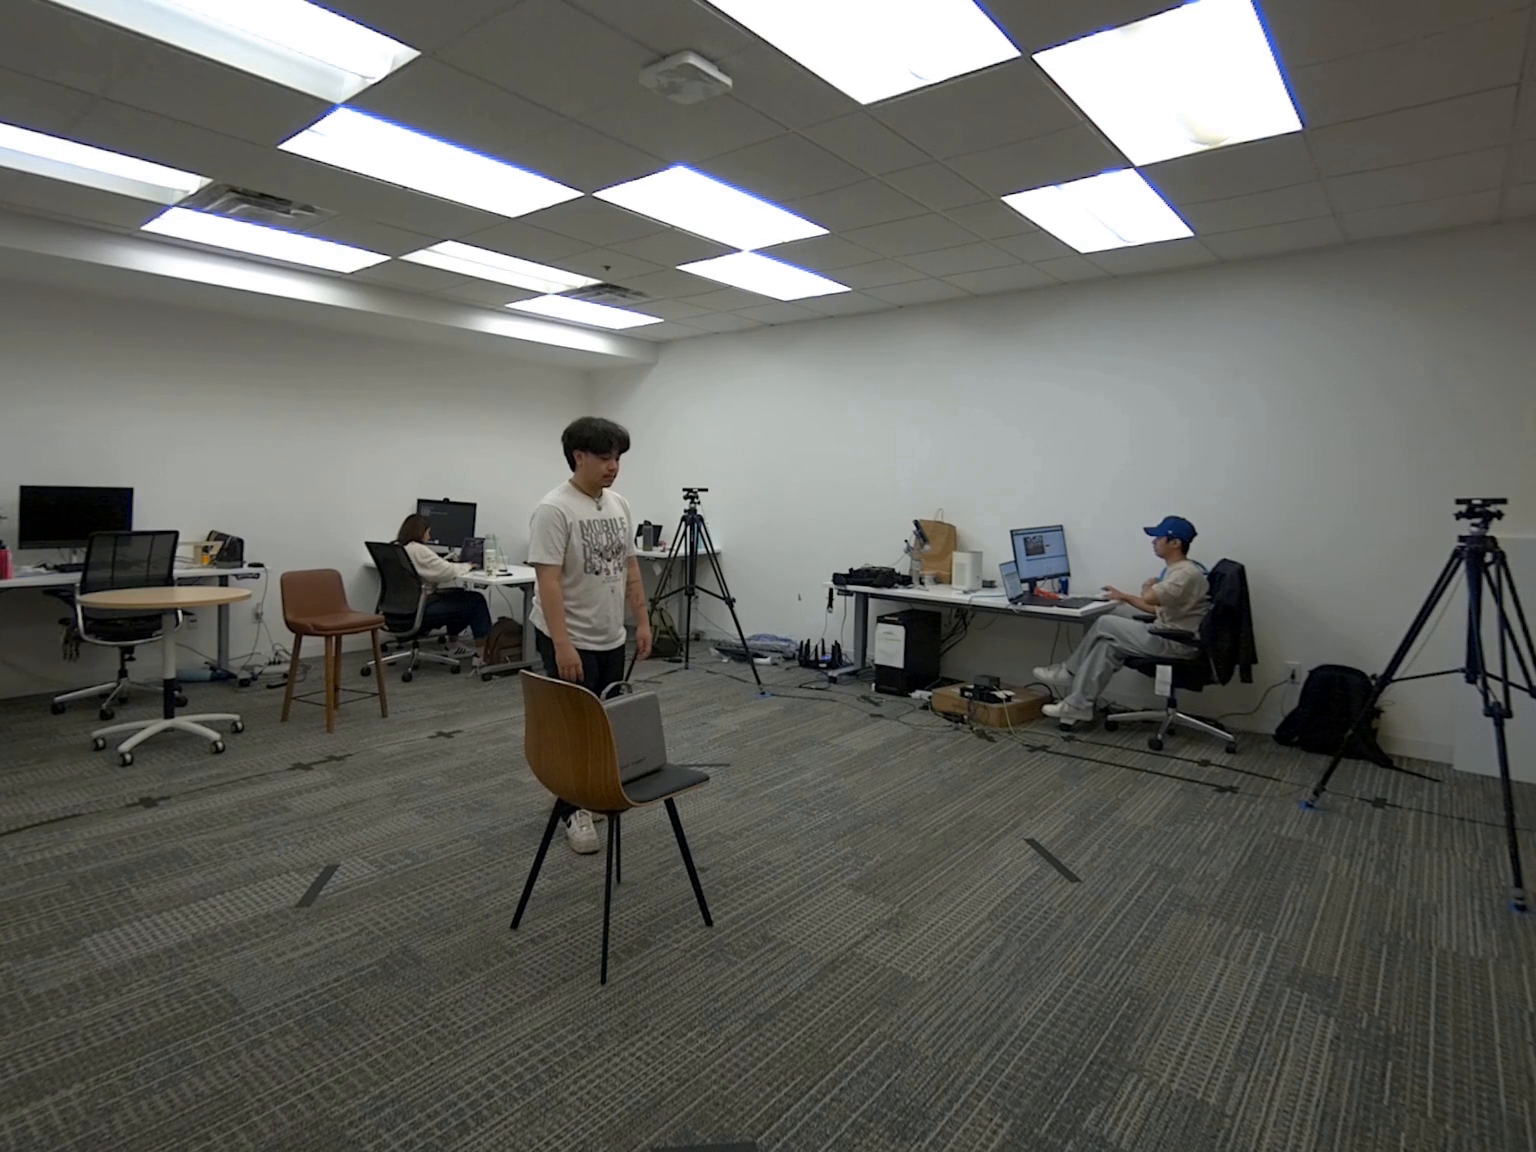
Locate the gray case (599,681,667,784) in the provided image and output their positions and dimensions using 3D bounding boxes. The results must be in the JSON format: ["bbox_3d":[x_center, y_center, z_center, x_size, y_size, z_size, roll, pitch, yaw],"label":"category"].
[{"bbox_3d":[-0.460,0.500,2.688,0.107,0.261,0.250,-9,0,43],"label":"gray case"}]
